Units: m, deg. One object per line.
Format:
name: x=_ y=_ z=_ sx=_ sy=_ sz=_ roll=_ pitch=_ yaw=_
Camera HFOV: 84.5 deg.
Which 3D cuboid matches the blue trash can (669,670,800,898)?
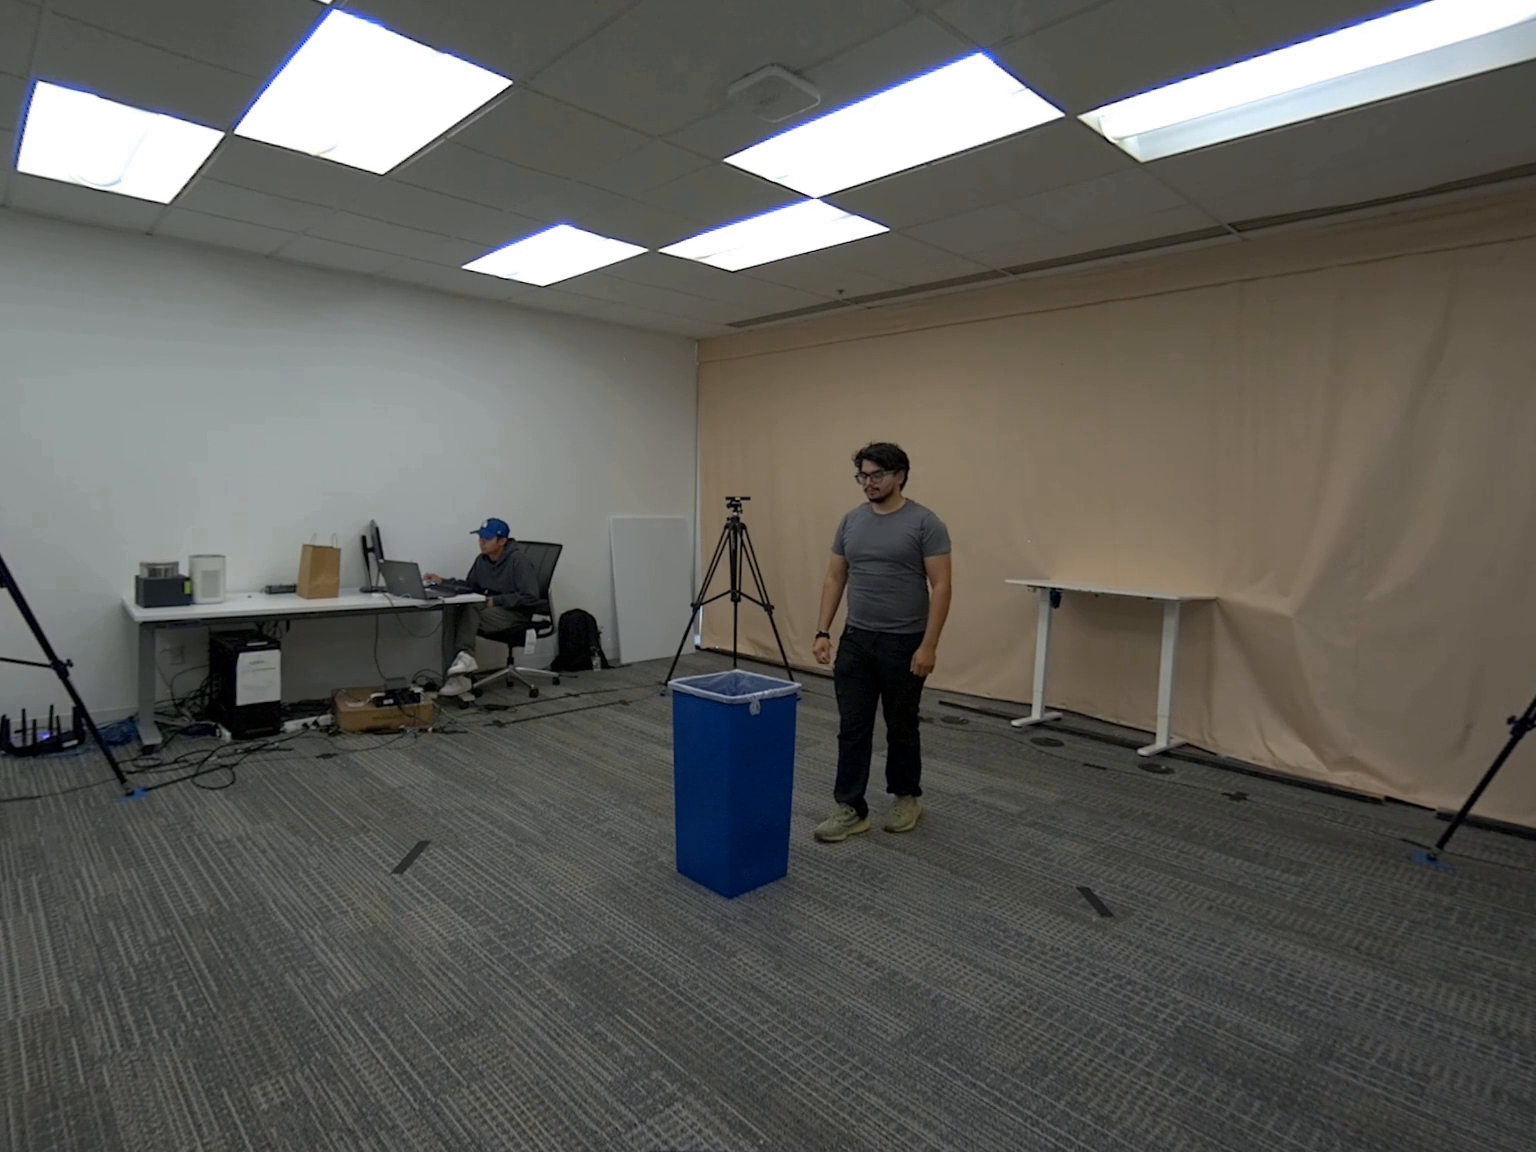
blue trash can: x=-0.137 y=0.750 z=3.105 sx=0.387 sy=0.712 sz=0.365 roll=4 pitch=3 yaw=45
